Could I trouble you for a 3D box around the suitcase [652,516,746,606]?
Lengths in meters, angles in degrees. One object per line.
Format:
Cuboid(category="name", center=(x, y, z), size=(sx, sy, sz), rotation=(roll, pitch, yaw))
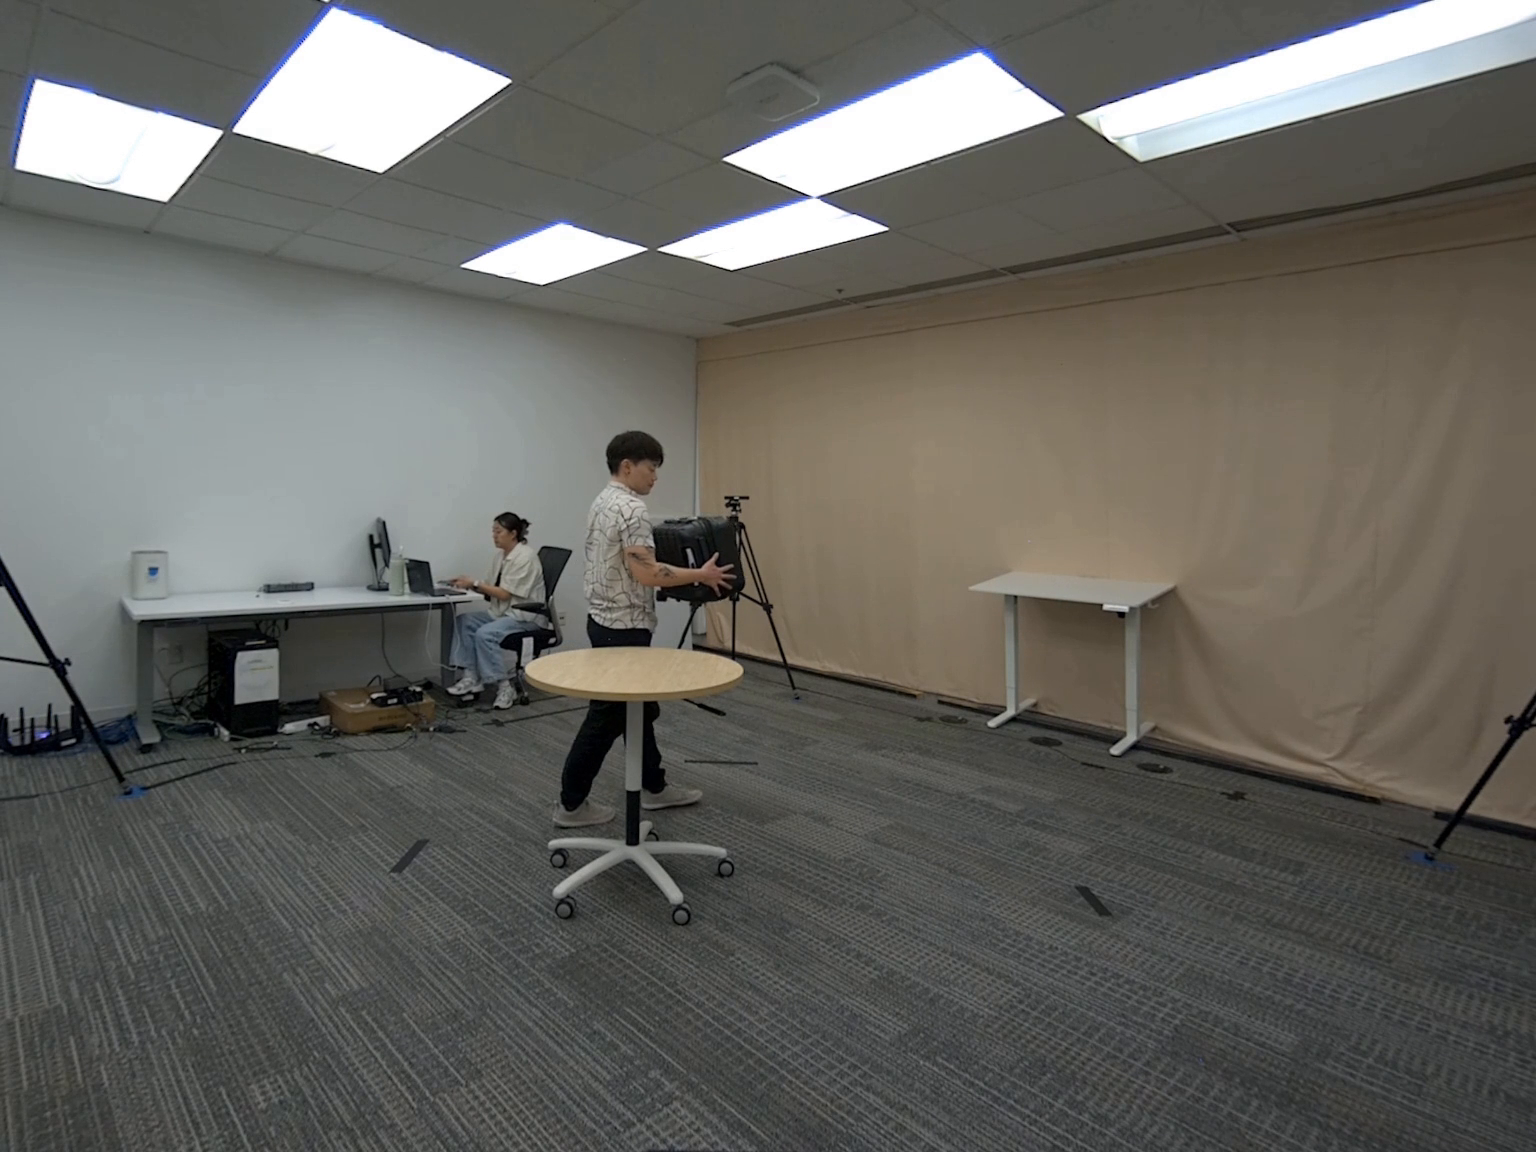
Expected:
Cuboid(category="suitcase", center=(-0.337, -0.088, 3.754), size=(0.245, 0.373, 0.559), rotation=(-14, 7, -24))
